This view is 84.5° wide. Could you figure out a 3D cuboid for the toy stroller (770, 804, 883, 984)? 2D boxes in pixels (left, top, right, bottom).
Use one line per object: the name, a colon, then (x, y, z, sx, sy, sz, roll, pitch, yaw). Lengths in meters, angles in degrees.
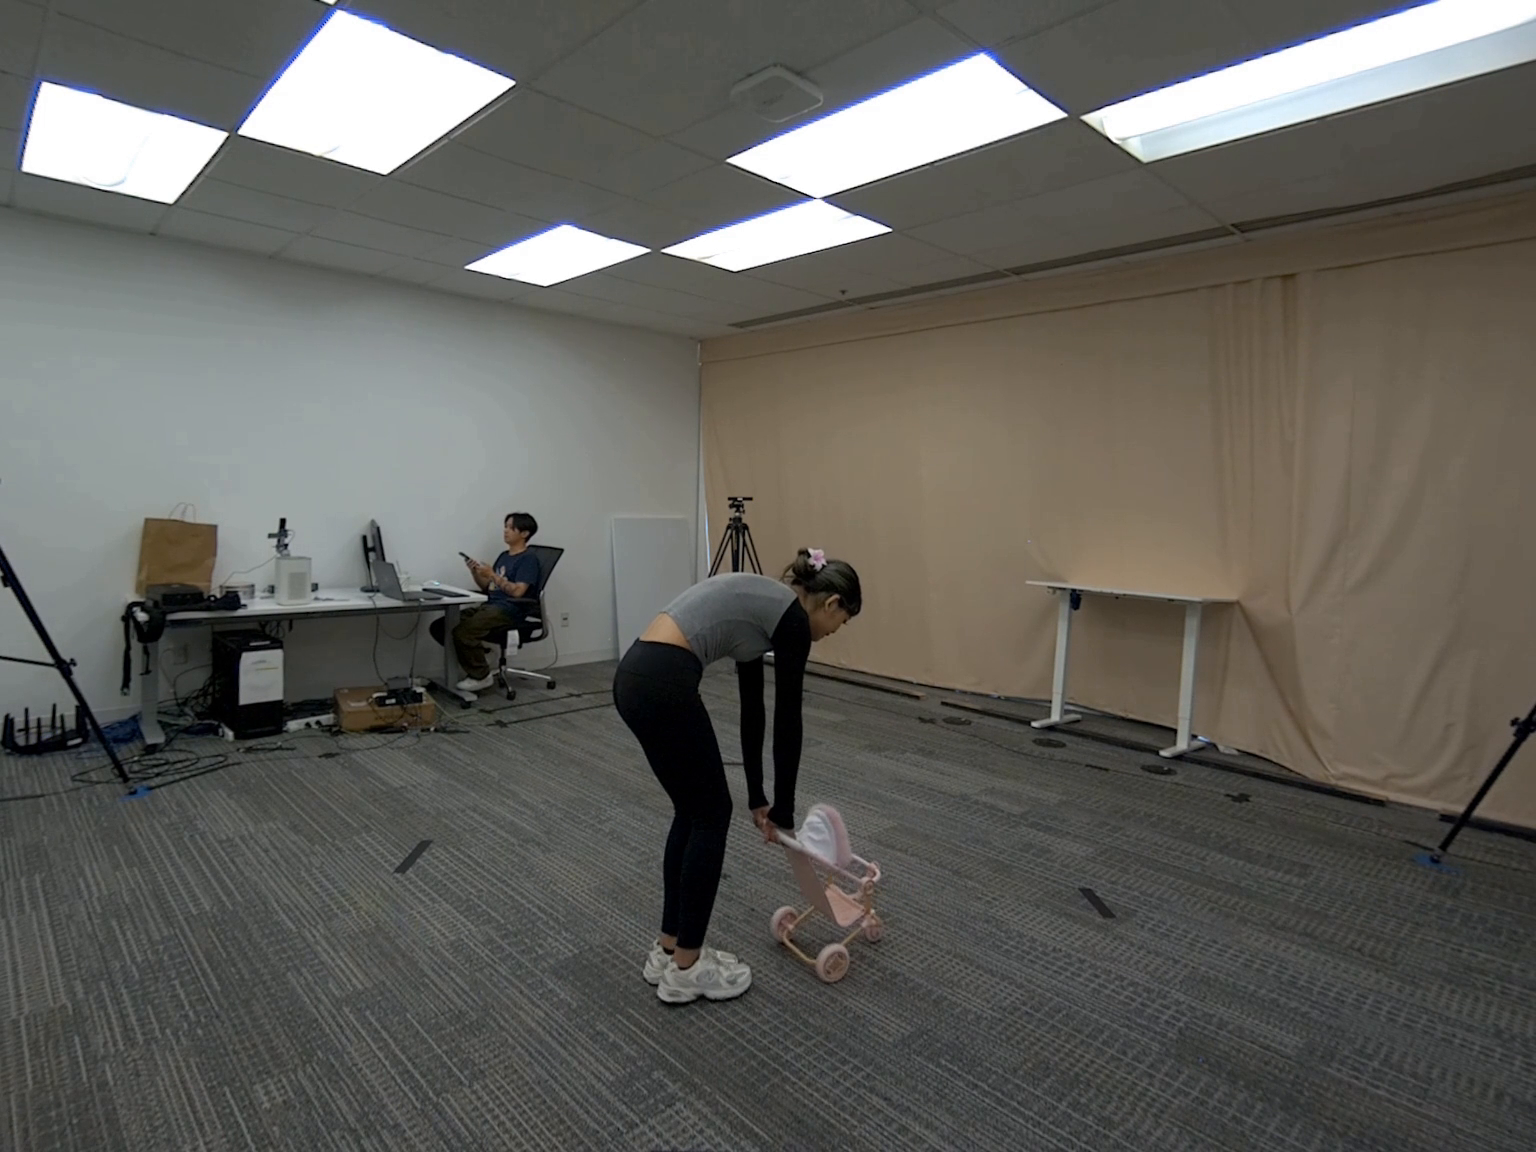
toy stroller: (0.187, 0.935, 2.572, 0.337, 0.530, 0.287, -16, 11, -26)
